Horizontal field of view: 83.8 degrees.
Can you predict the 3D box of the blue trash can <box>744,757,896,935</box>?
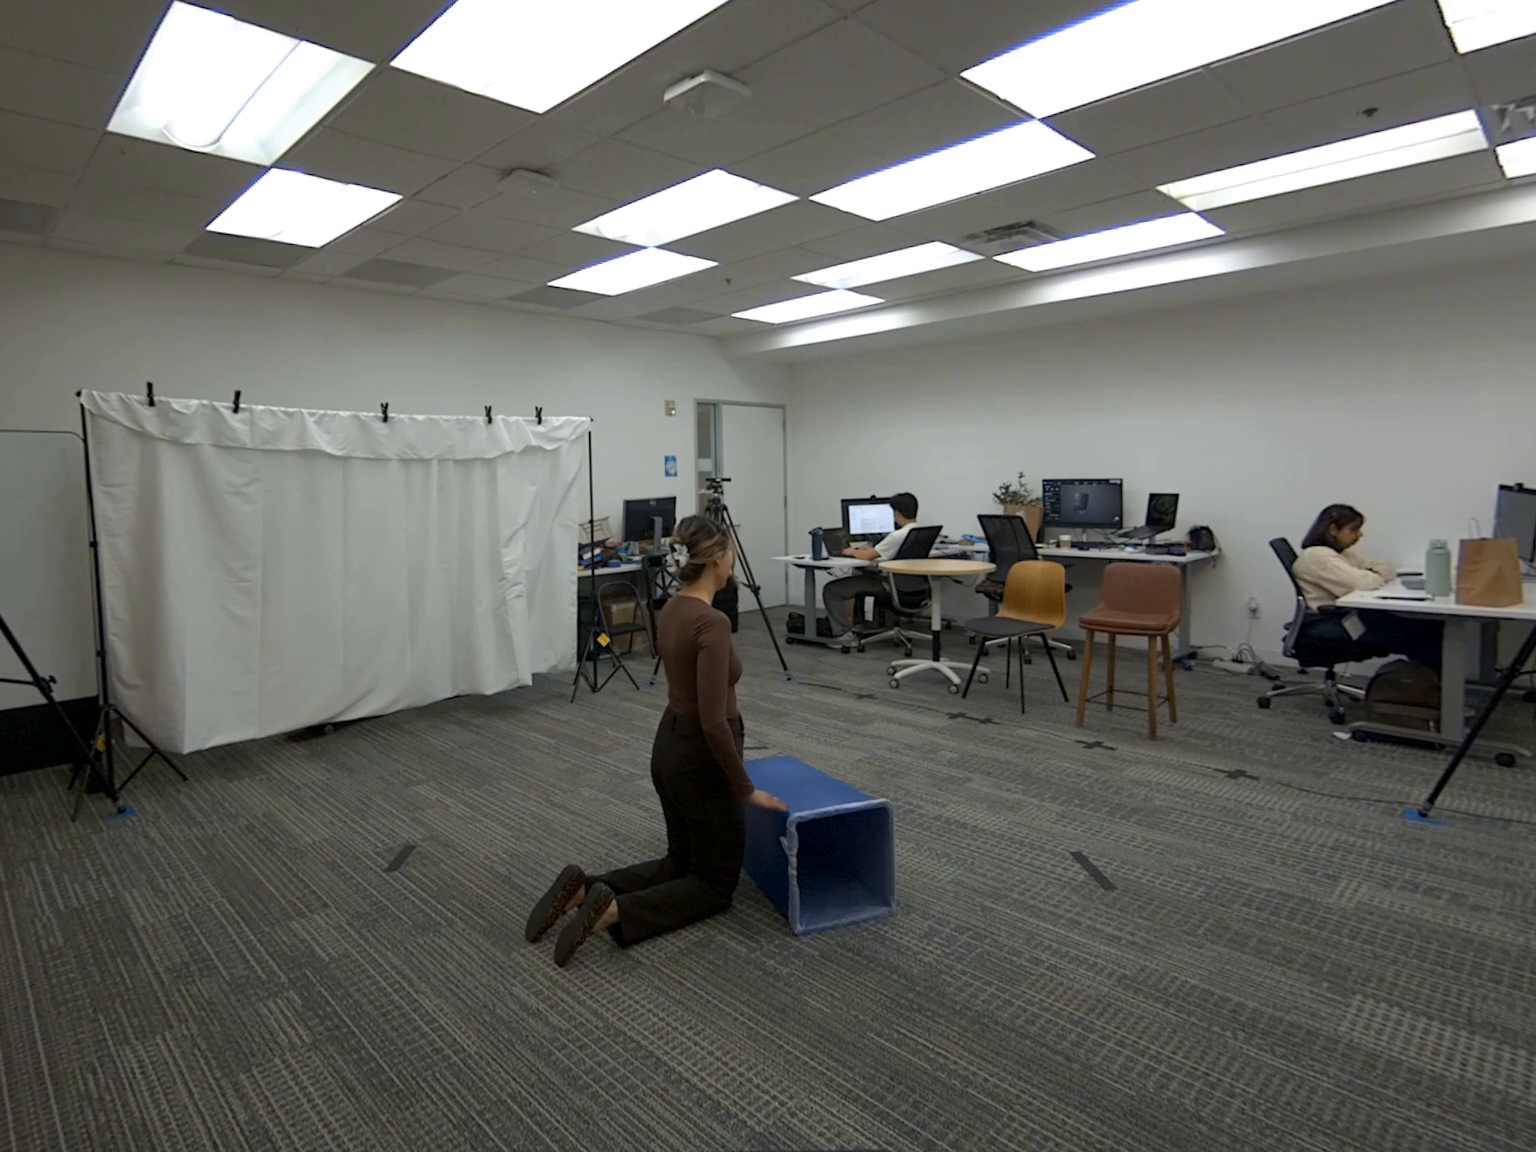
[{"bbox_3d":[0.107,0.880,2.994,0.367,0.377,0.729,-4,5,-21],"label":"blue trash can"}]
